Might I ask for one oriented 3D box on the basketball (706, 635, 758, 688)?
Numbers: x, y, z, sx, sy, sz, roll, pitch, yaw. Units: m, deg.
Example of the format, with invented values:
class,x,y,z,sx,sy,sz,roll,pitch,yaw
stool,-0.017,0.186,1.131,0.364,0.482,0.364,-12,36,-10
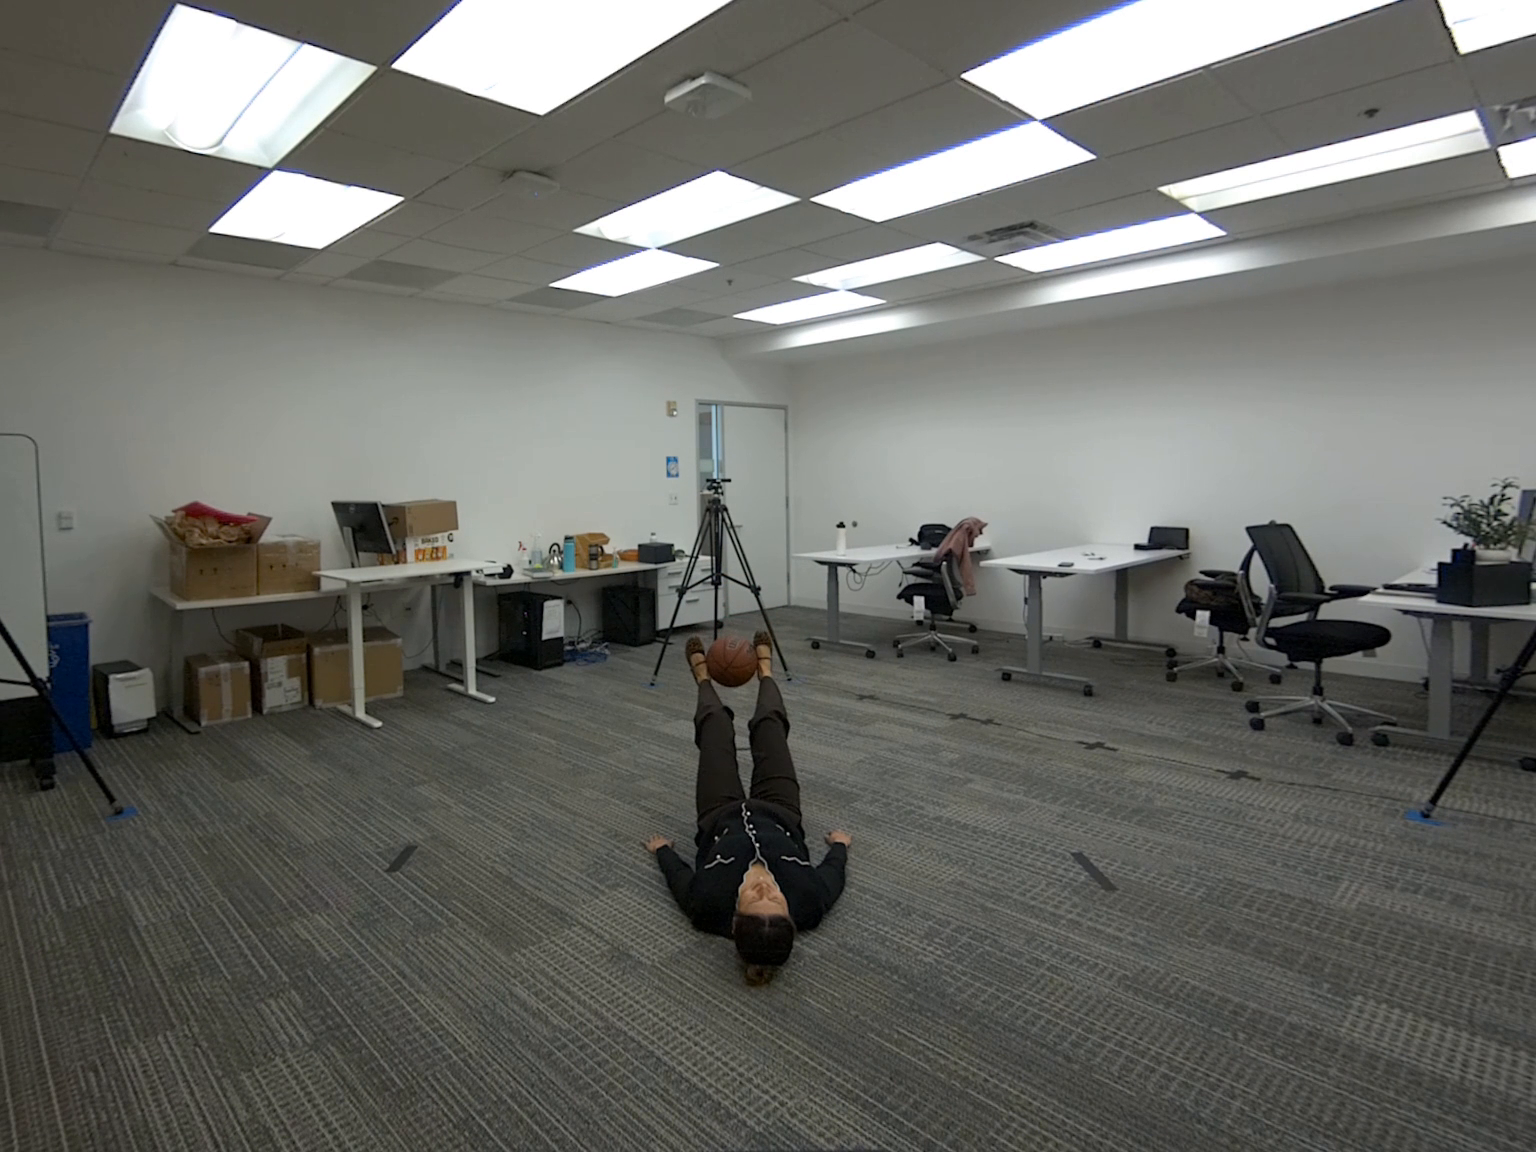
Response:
class,x,y,z,sx,sy,sz,roll,pitch,yaw
basketball,-0.160,0.384,3.879,0.236,0.235,0.237,-4,4,-1
